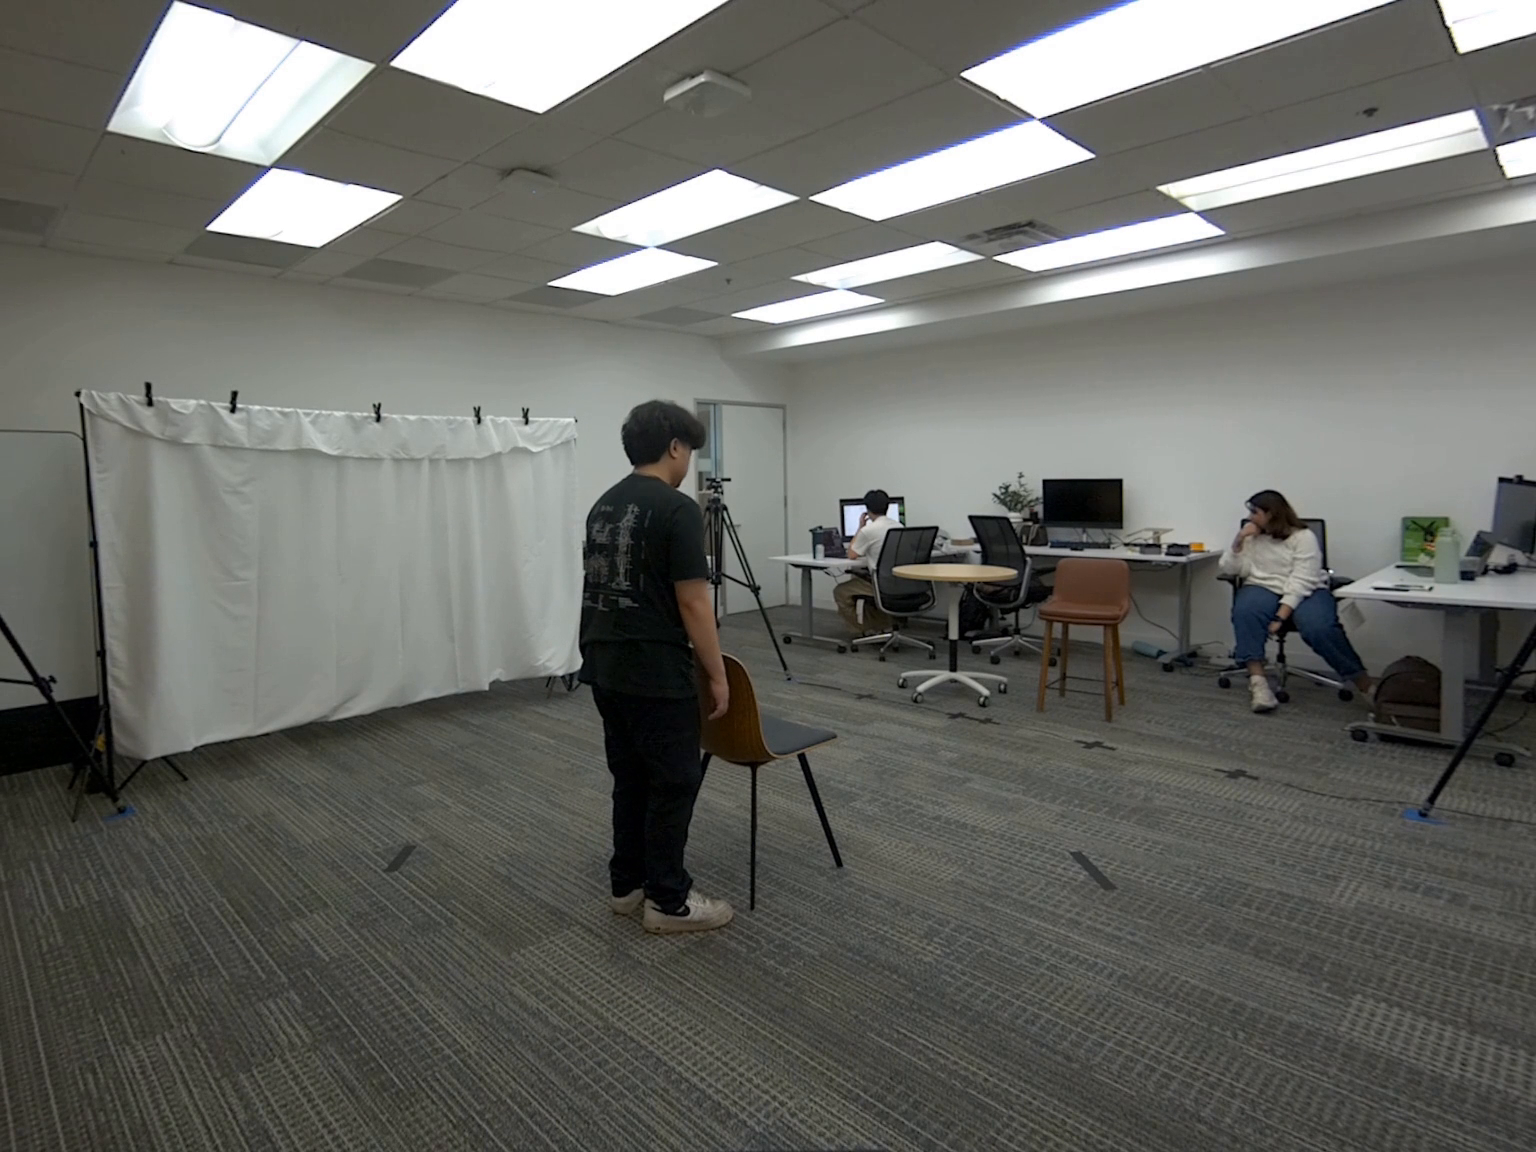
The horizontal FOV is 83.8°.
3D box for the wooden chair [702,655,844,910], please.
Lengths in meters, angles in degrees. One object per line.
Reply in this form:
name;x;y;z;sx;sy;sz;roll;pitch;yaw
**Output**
wooden chair;-0.047;0.623;3.054;0.511;0.871;0.493;-11;10;-43
